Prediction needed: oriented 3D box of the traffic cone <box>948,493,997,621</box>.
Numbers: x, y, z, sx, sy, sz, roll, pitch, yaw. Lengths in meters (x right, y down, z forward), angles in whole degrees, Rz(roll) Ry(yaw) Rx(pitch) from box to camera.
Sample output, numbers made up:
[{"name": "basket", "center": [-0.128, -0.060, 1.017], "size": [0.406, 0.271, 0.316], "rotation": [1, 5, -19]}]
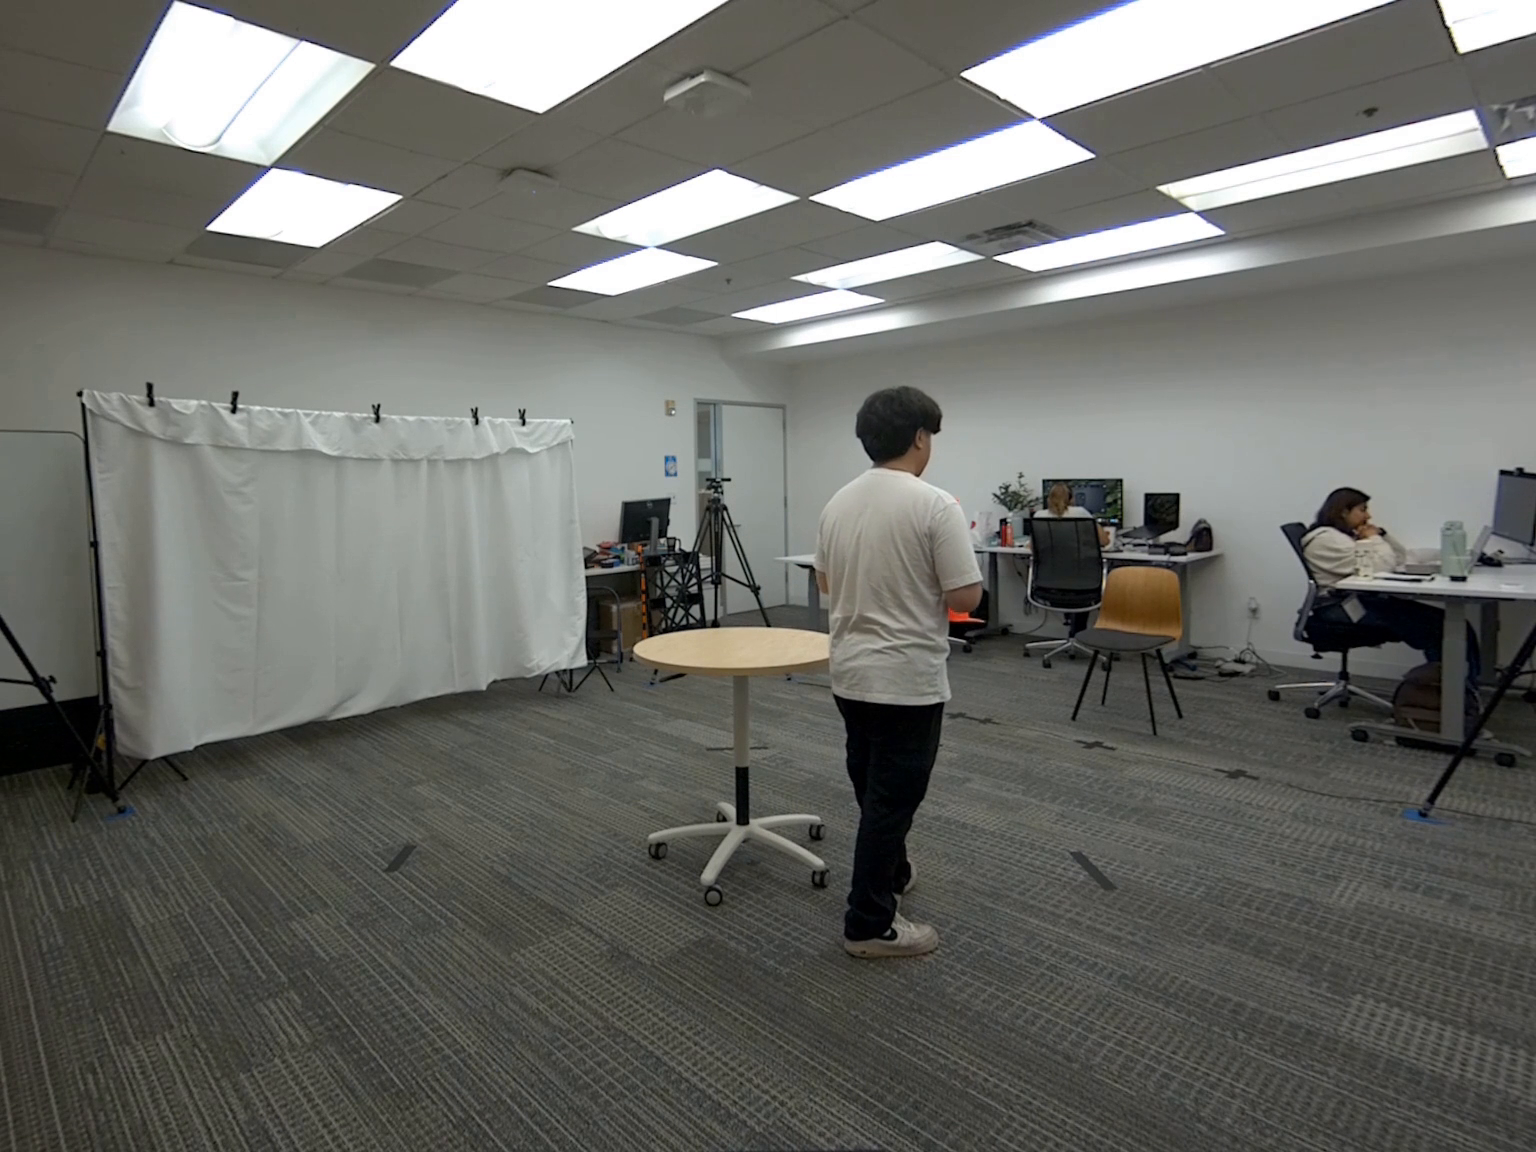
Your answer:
[{"name": "traffic cone", "center": [0.587, -0.060, 2.735], "size": [0.210, 0.385, 0.197], "rotation": [0, -4, 34]}]
